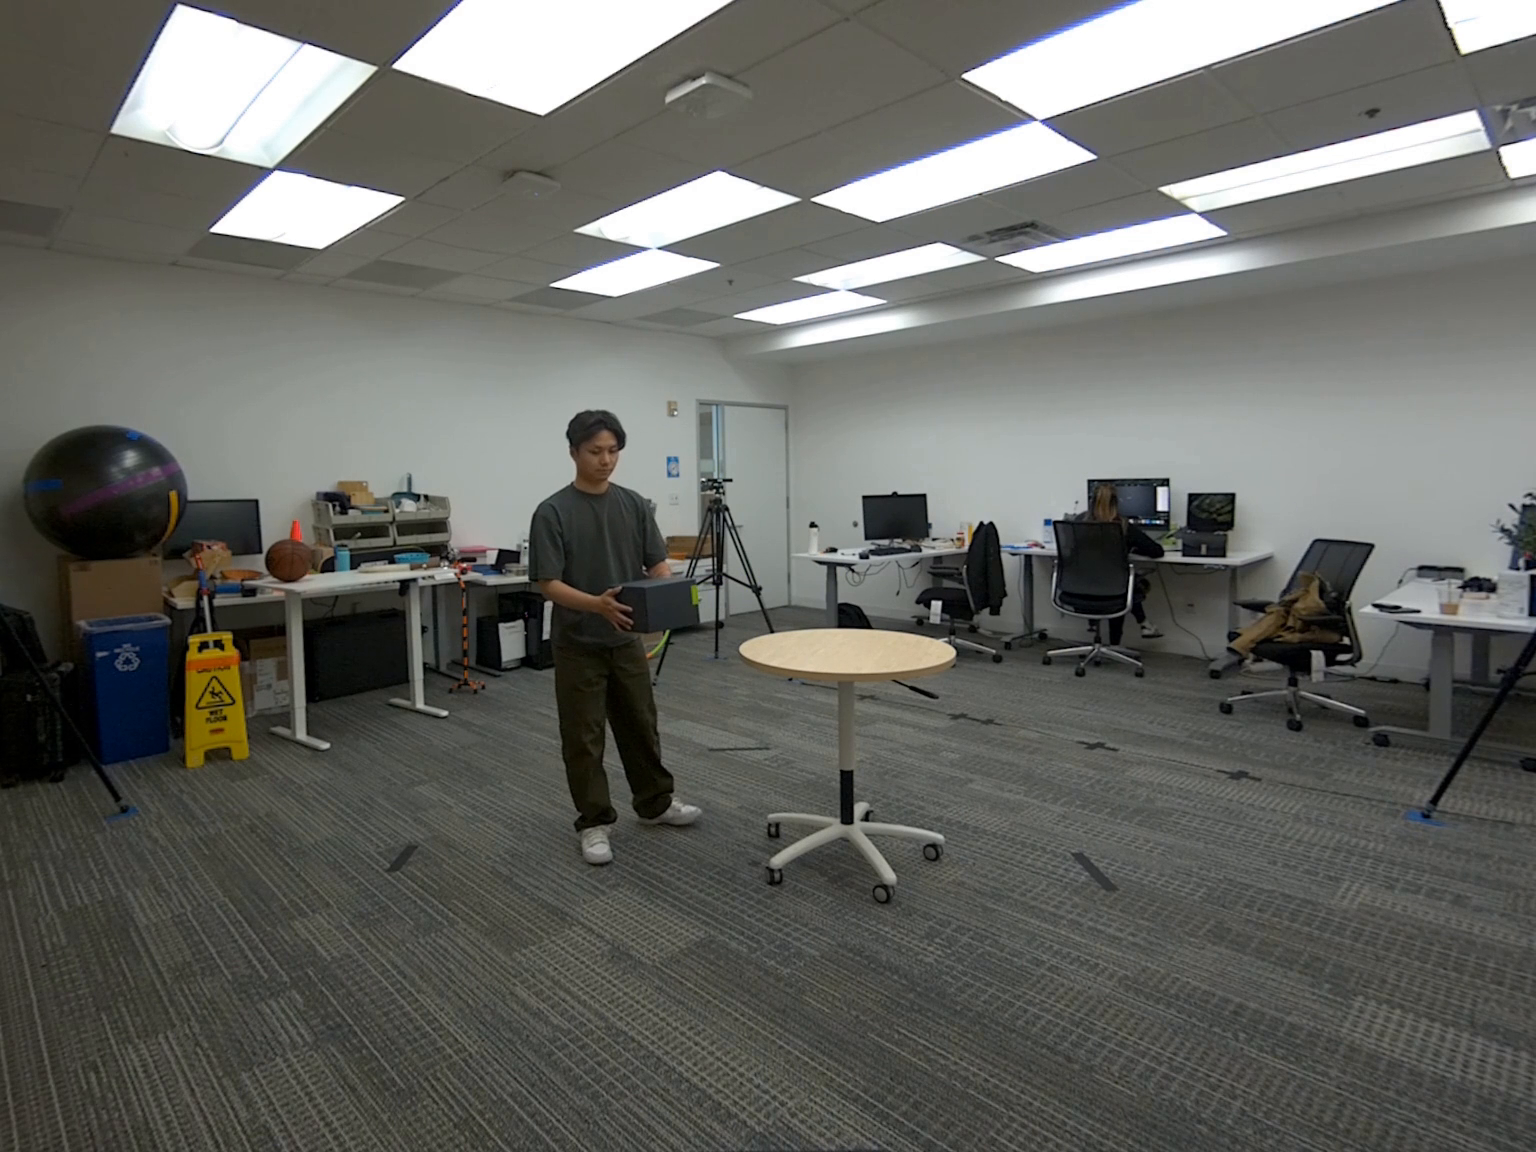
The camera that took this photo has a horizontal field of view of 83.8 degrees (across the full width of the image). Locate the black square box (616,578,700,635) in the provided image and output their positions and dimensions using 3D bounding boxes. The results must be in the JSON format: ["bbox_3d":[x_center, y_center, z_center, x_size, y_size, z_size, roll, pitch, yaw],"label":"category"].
[{"bbox_3d":[-0.384,0.094,2.929,0.211,0.155,0.234,-7,5,-41],"label":"black square box"}]
